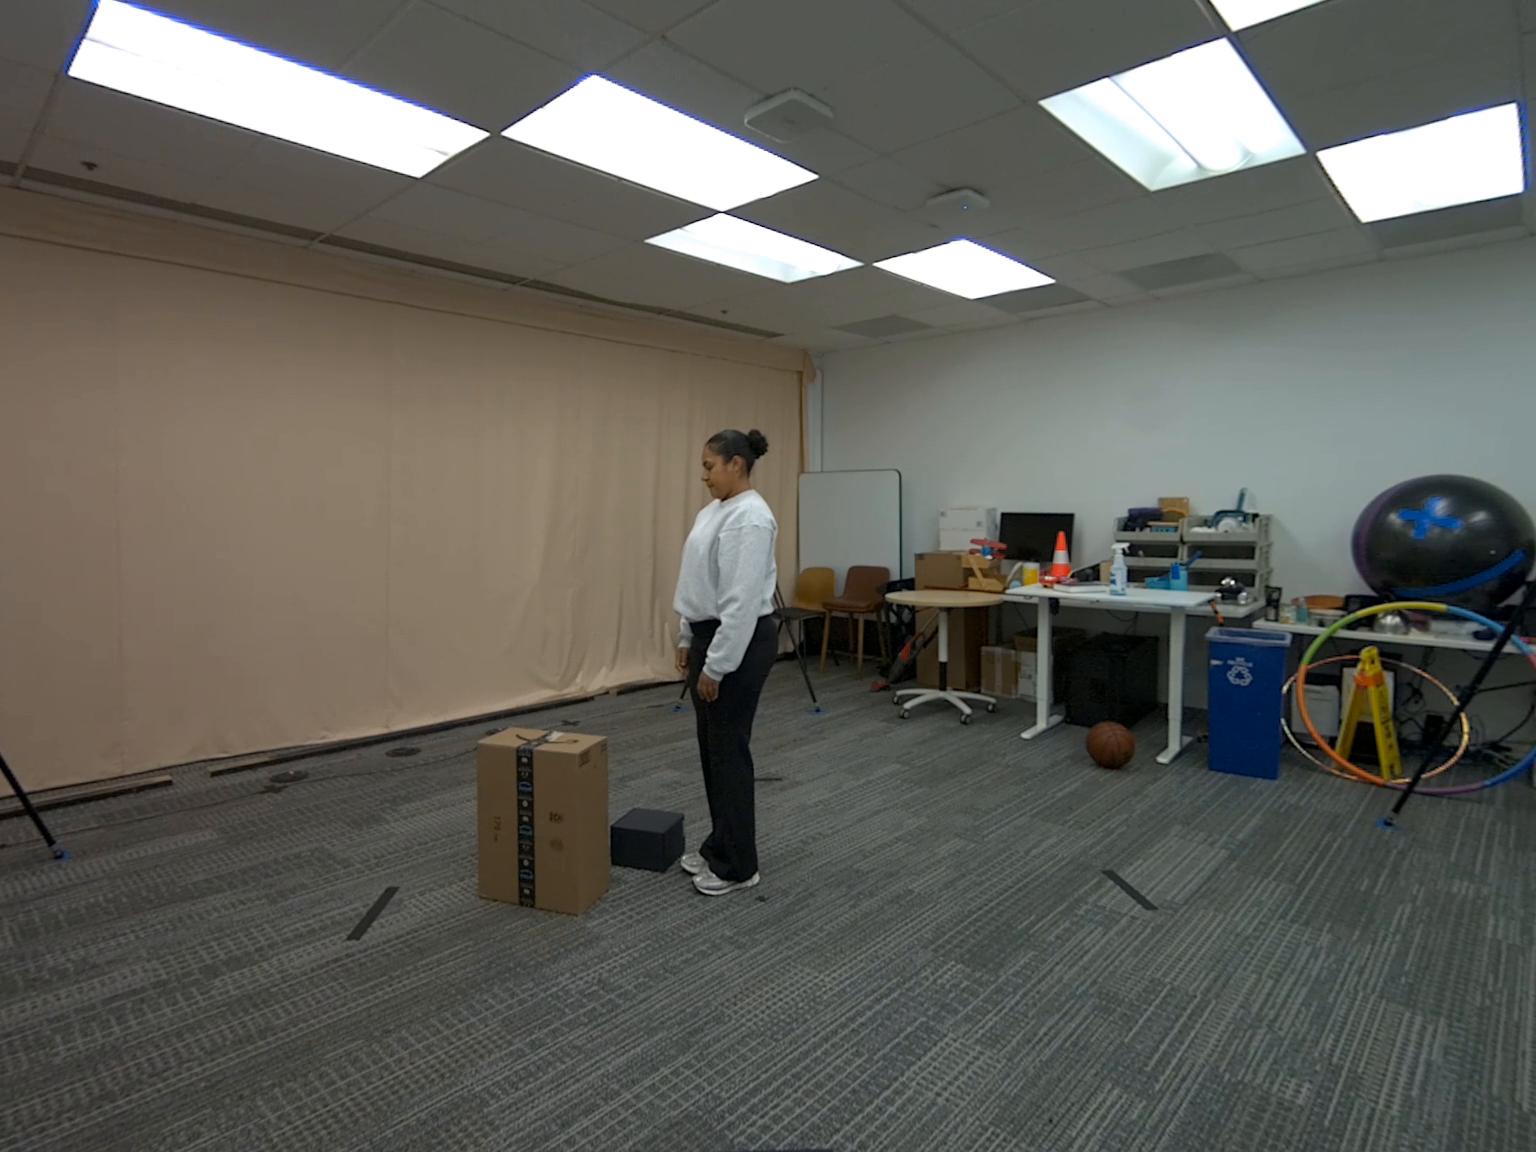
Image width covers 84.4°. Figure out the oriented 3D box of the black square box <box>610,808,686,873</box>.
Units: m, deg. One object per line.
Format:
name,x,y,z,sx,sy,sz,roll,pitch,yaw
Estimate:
black square box,-0.471,1.037,3.326,0.232,0.155,0.213,0,4,18
